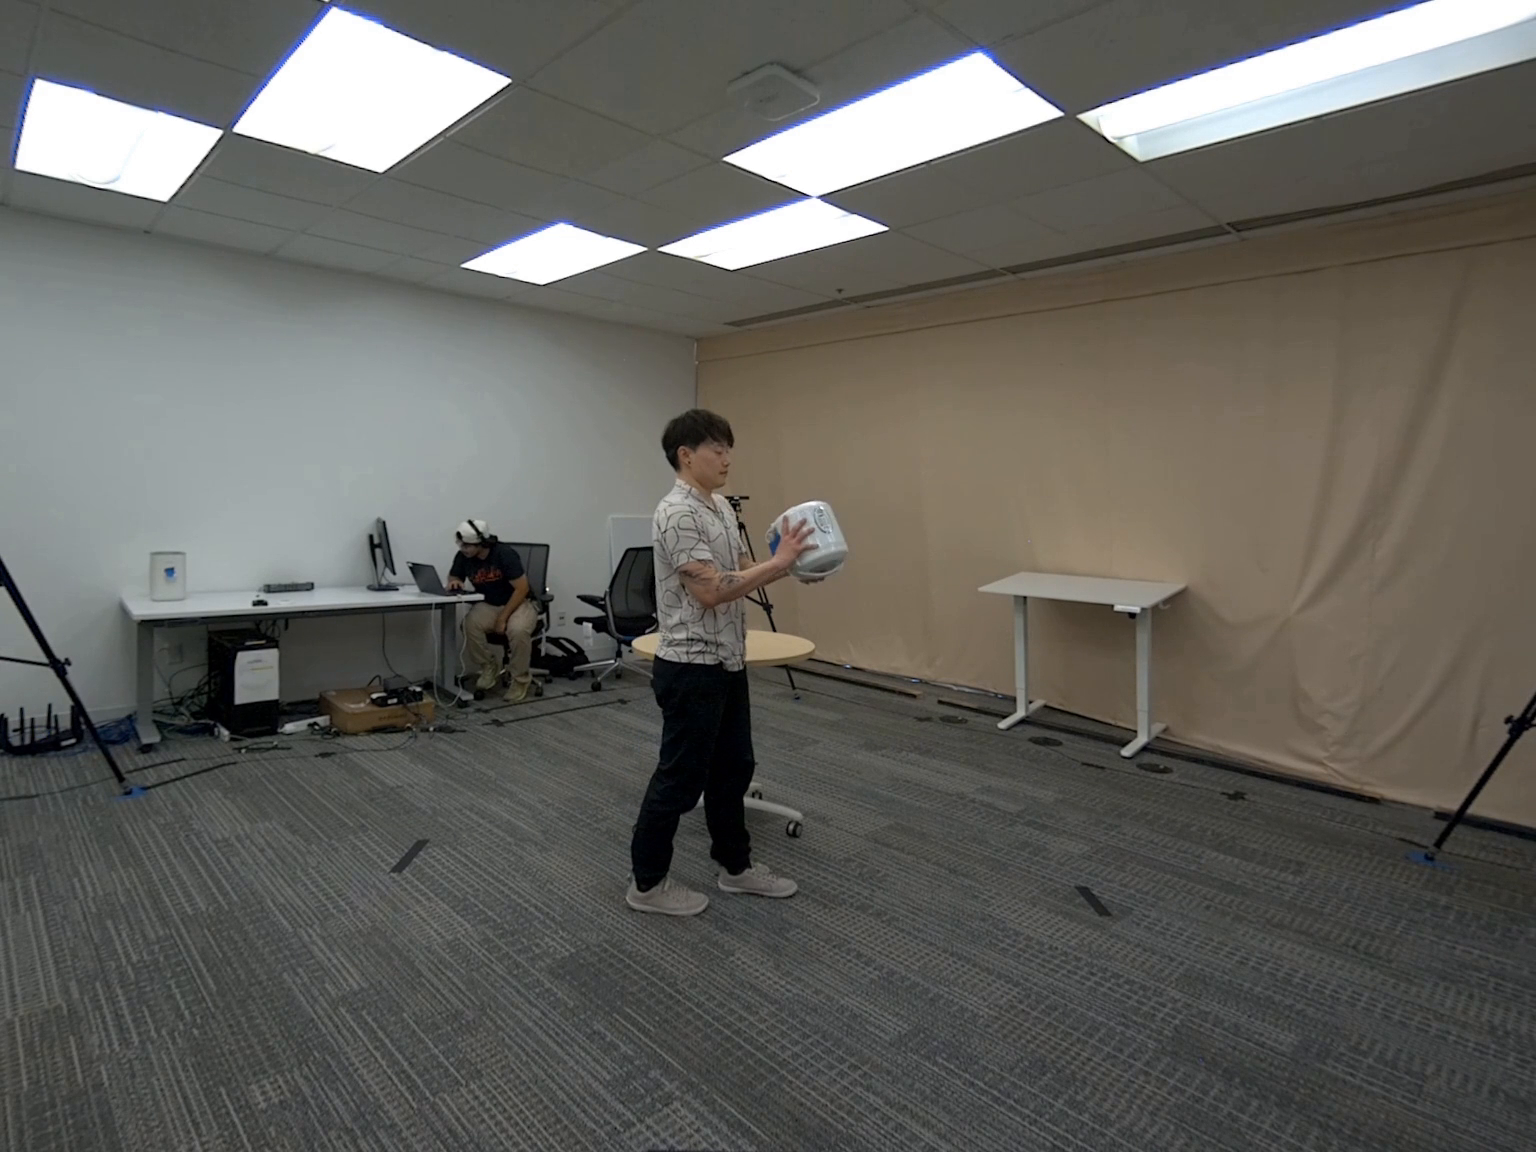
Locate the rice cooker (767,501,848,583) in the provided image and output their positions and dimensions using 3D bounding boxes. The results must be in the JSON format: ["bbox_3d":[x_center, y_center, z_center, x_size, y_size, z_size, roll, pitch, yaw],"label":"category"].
[{"bbox_3d":[0.129,-0.103,2.717,0.217,0.236,0.218,-12,-17,-31],"label":"rice cooker"}]
